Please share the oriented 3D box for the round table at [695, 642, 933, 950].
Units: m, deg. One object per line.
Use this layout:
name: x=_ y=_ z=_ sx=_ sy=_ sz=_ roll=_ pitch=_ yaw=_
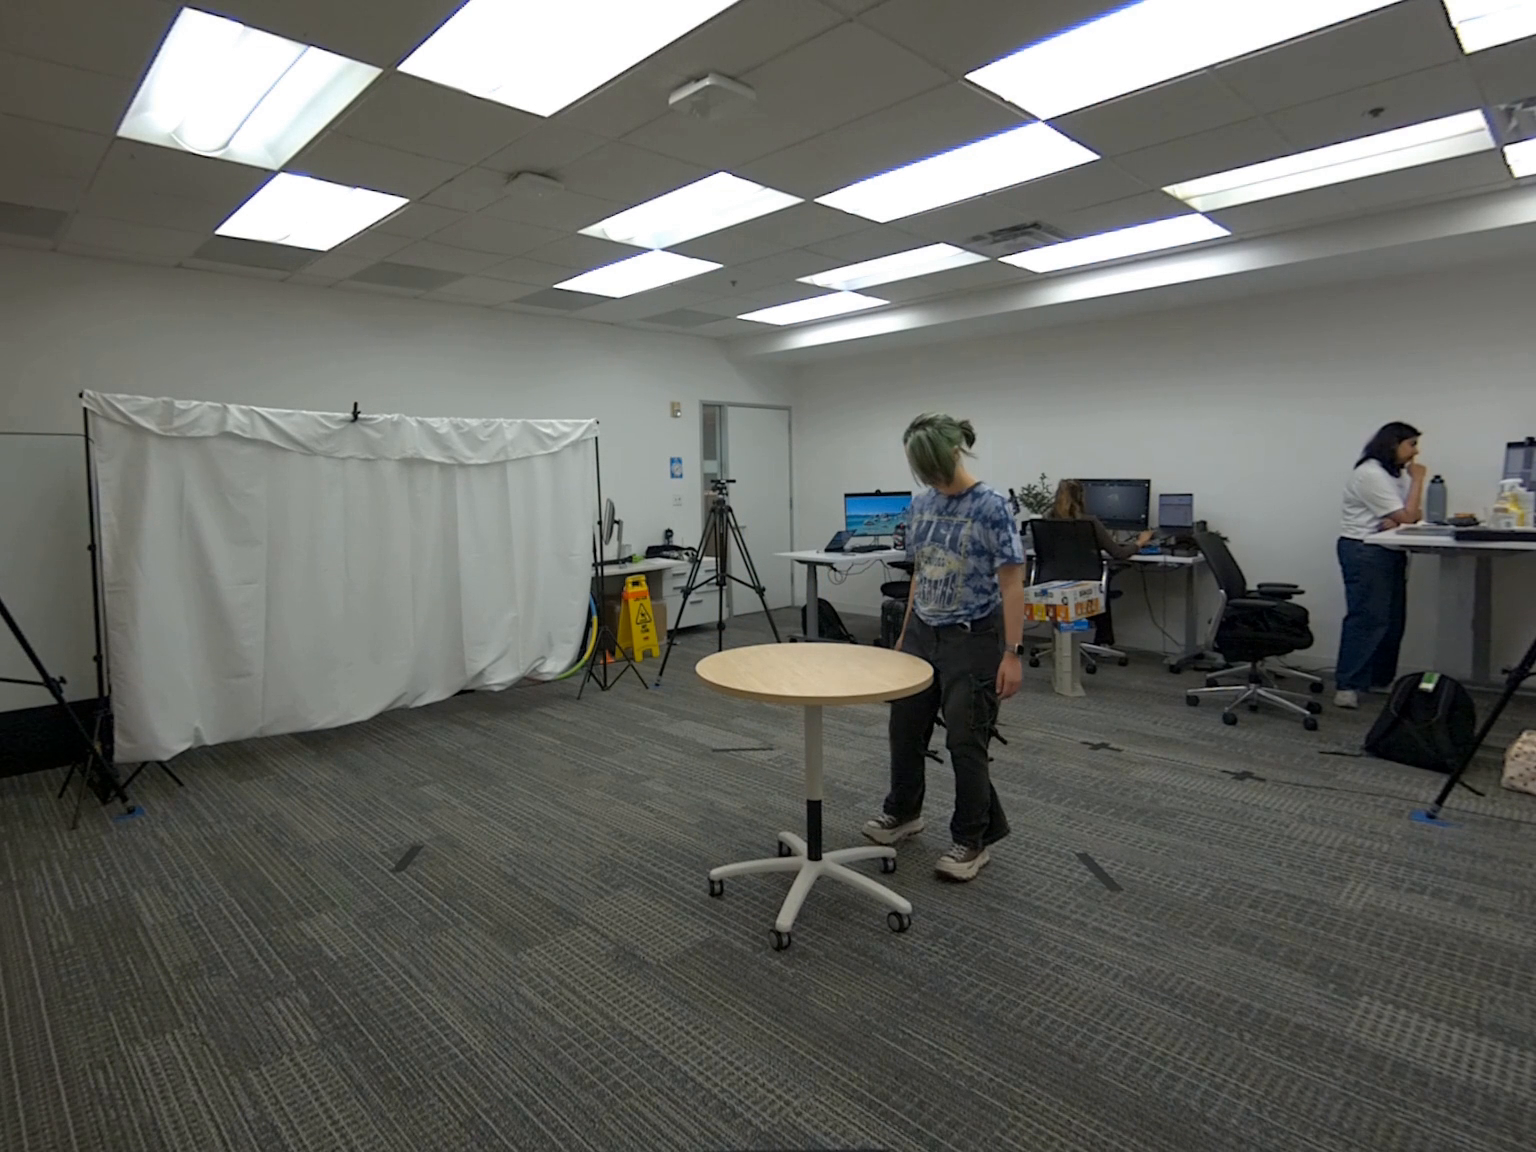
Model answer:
round table: x=0.153 y=0.689 z=2.809 sx=0.763 sy=0.791 sz=0.768 roll=-1 pitch=5 yaw=-2
